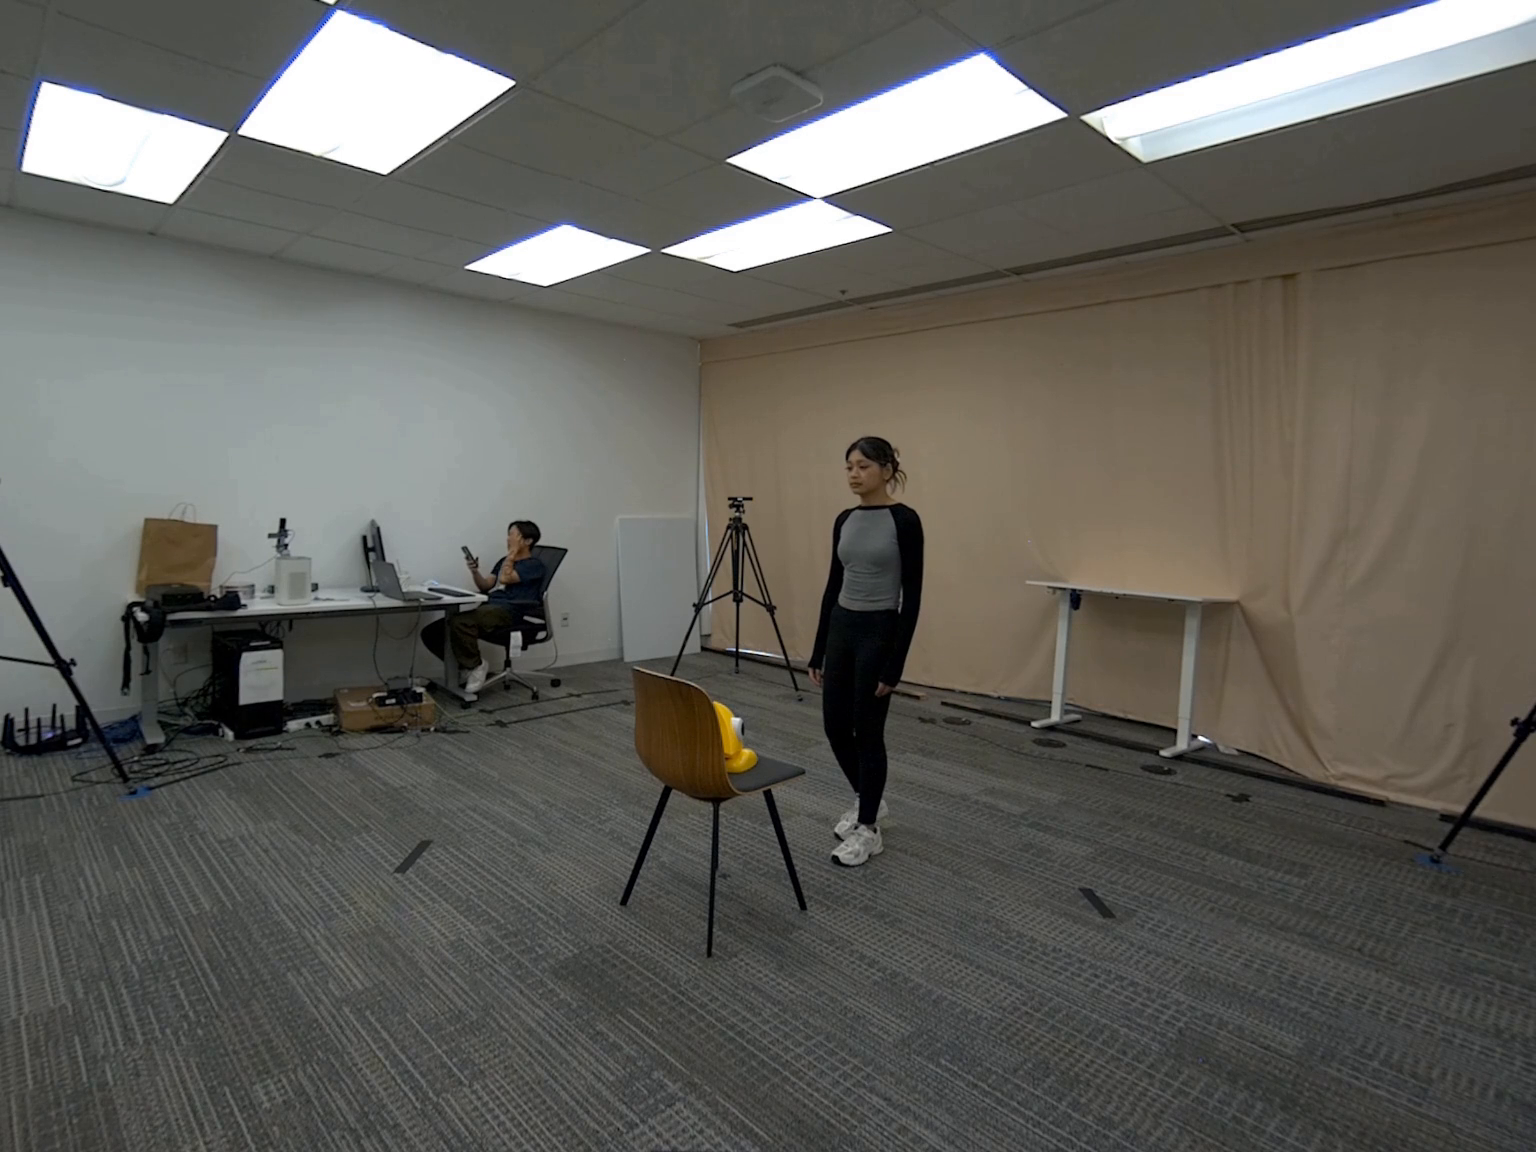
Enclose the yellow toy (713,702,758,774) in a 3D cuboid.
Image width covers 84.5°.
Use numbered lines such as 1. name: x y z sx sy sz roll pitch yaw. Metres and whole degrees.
1. yellow toy: -0.148 0.531 2.891 0.210 0.229 0.189 7 11 38
